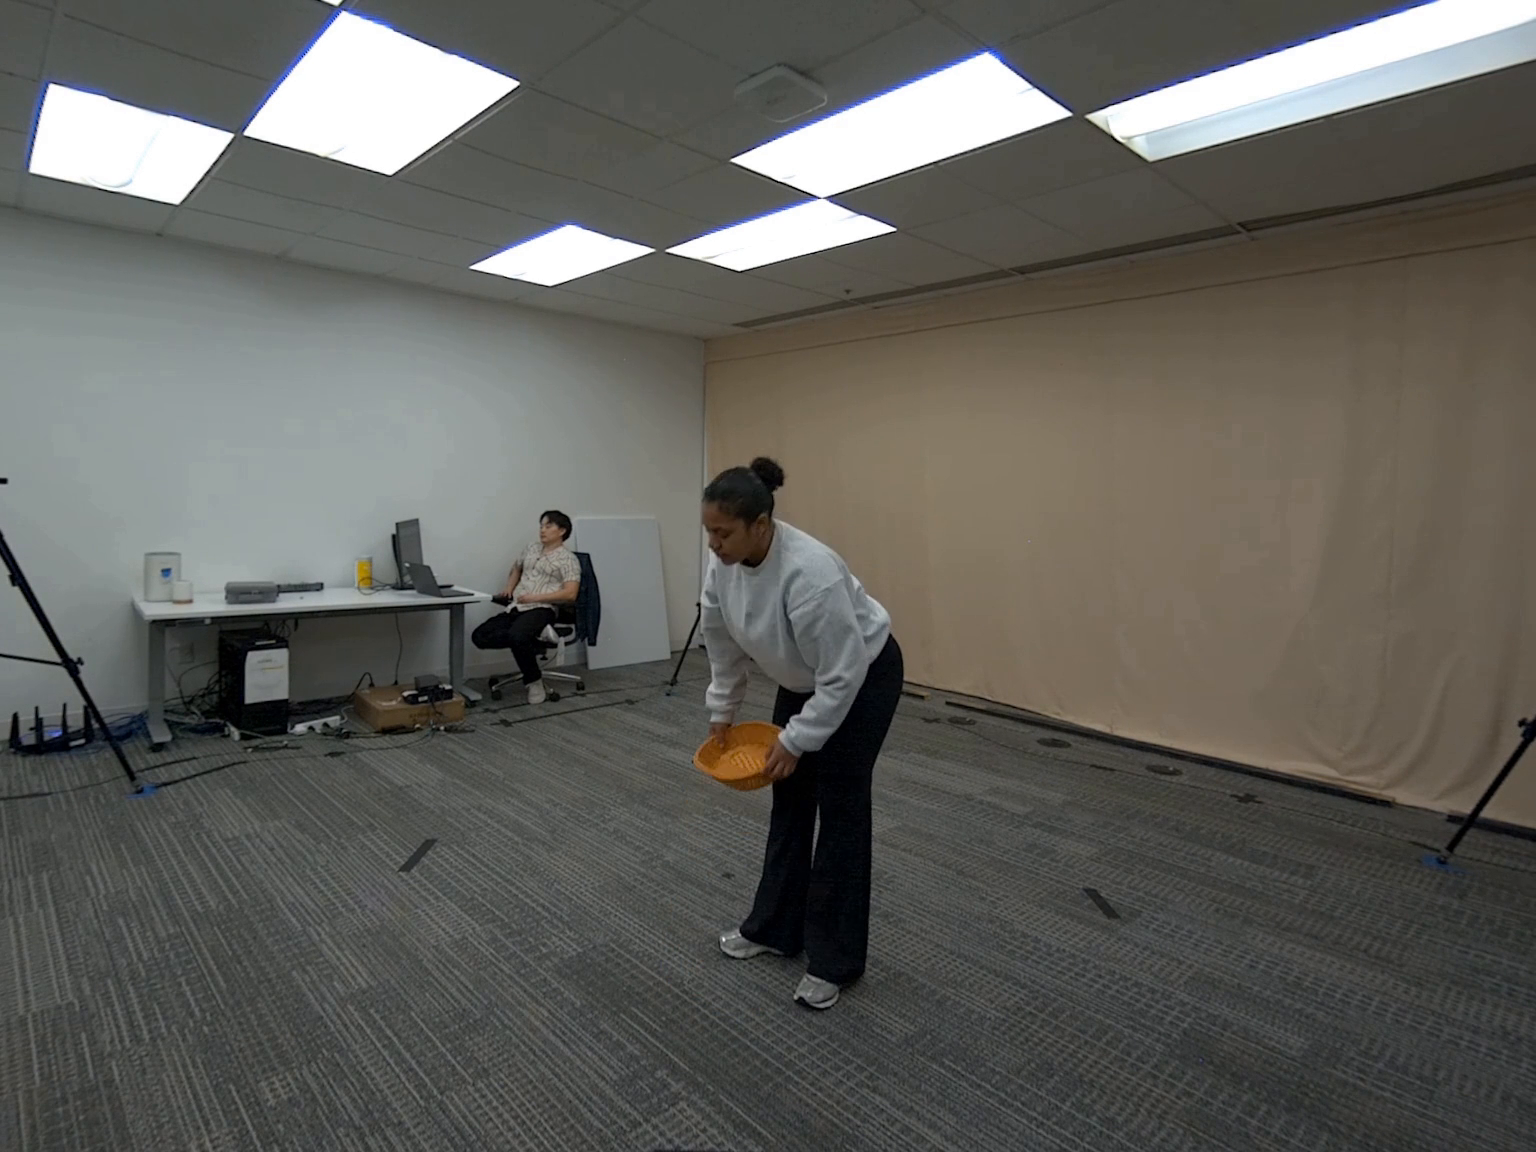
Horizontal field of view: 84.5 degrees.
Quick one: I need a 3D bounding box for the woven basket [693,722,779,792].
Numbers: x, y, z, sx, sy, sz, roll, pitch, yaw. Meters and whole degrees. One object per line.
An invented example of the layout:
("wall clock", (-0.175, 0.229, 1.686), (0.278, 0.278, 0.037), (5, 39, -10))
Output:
("woven basket", (-0.076, 0.528, 2.413), (0.250, 0.072, 0.358), (-28, 16, -29))
